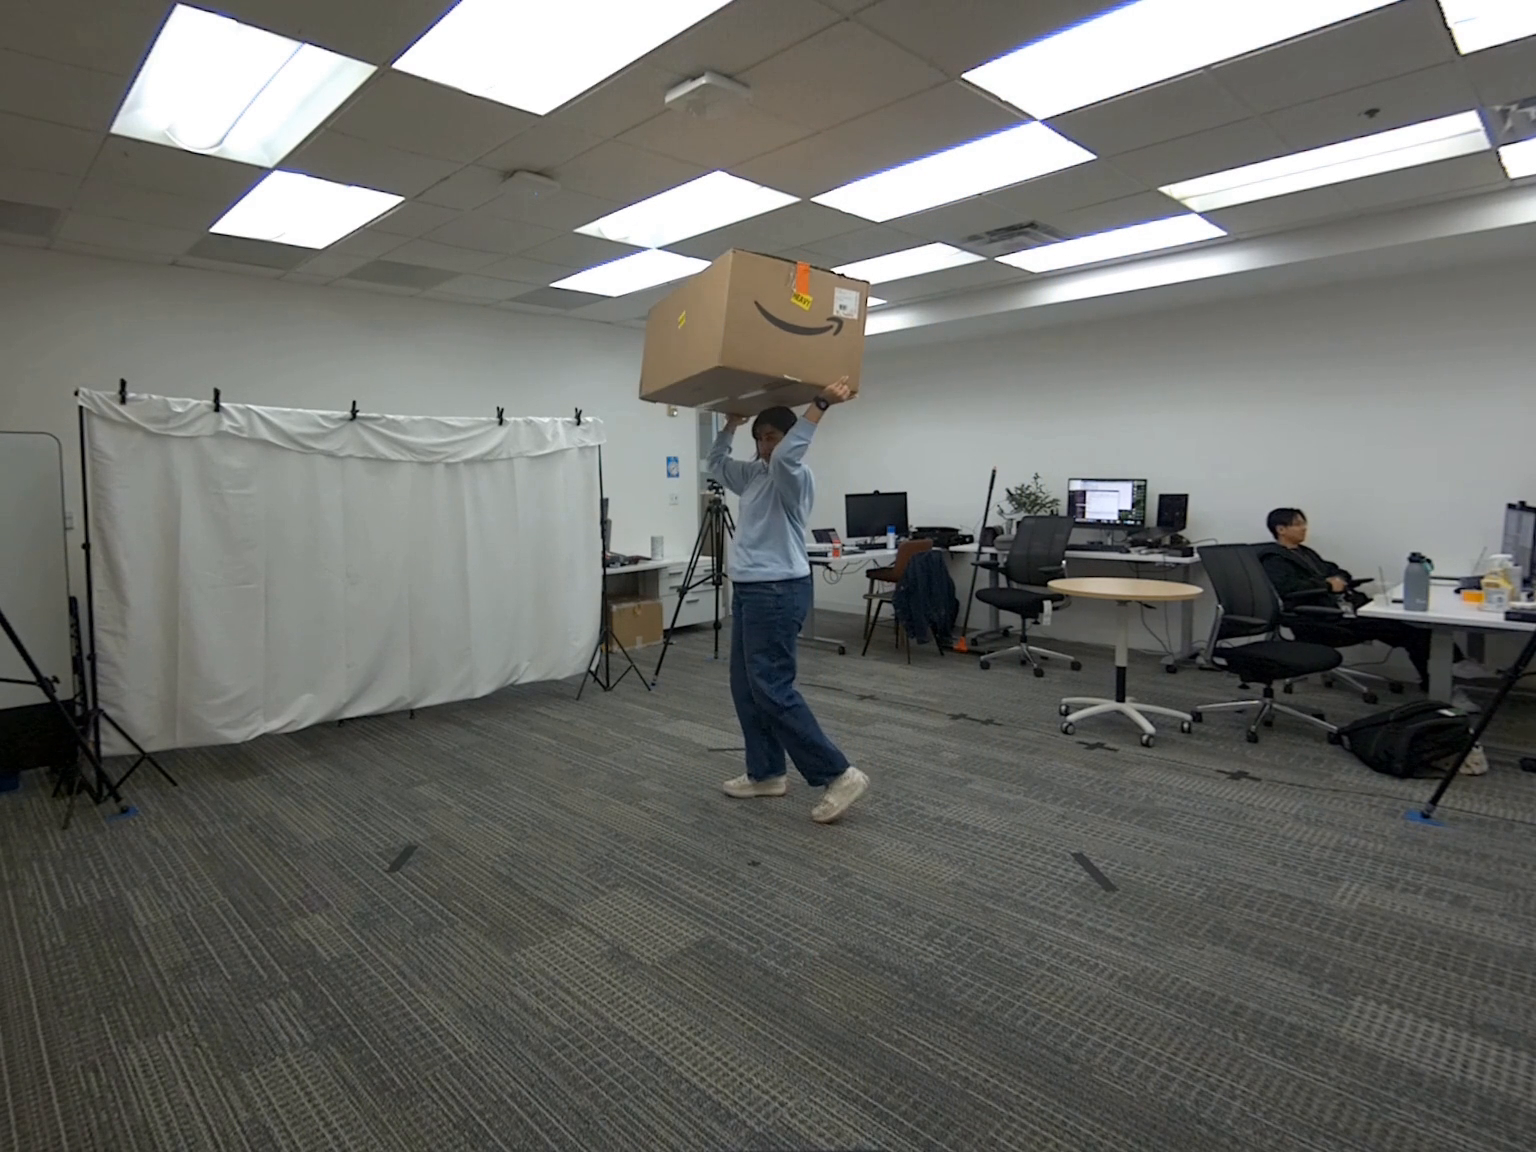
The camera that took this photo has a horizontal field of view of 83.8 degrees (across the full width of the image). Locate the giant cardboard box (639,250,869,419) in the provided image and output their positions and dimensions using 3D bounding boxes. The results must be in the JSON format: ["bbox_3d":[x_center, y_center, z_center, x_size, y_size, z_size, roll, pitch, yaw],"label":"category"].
[{"bbox_3d":[-0.102,-0.958,3.572,0.564,0.426,1.050,6,2,-24],"label":"giant cardboard box"}]
